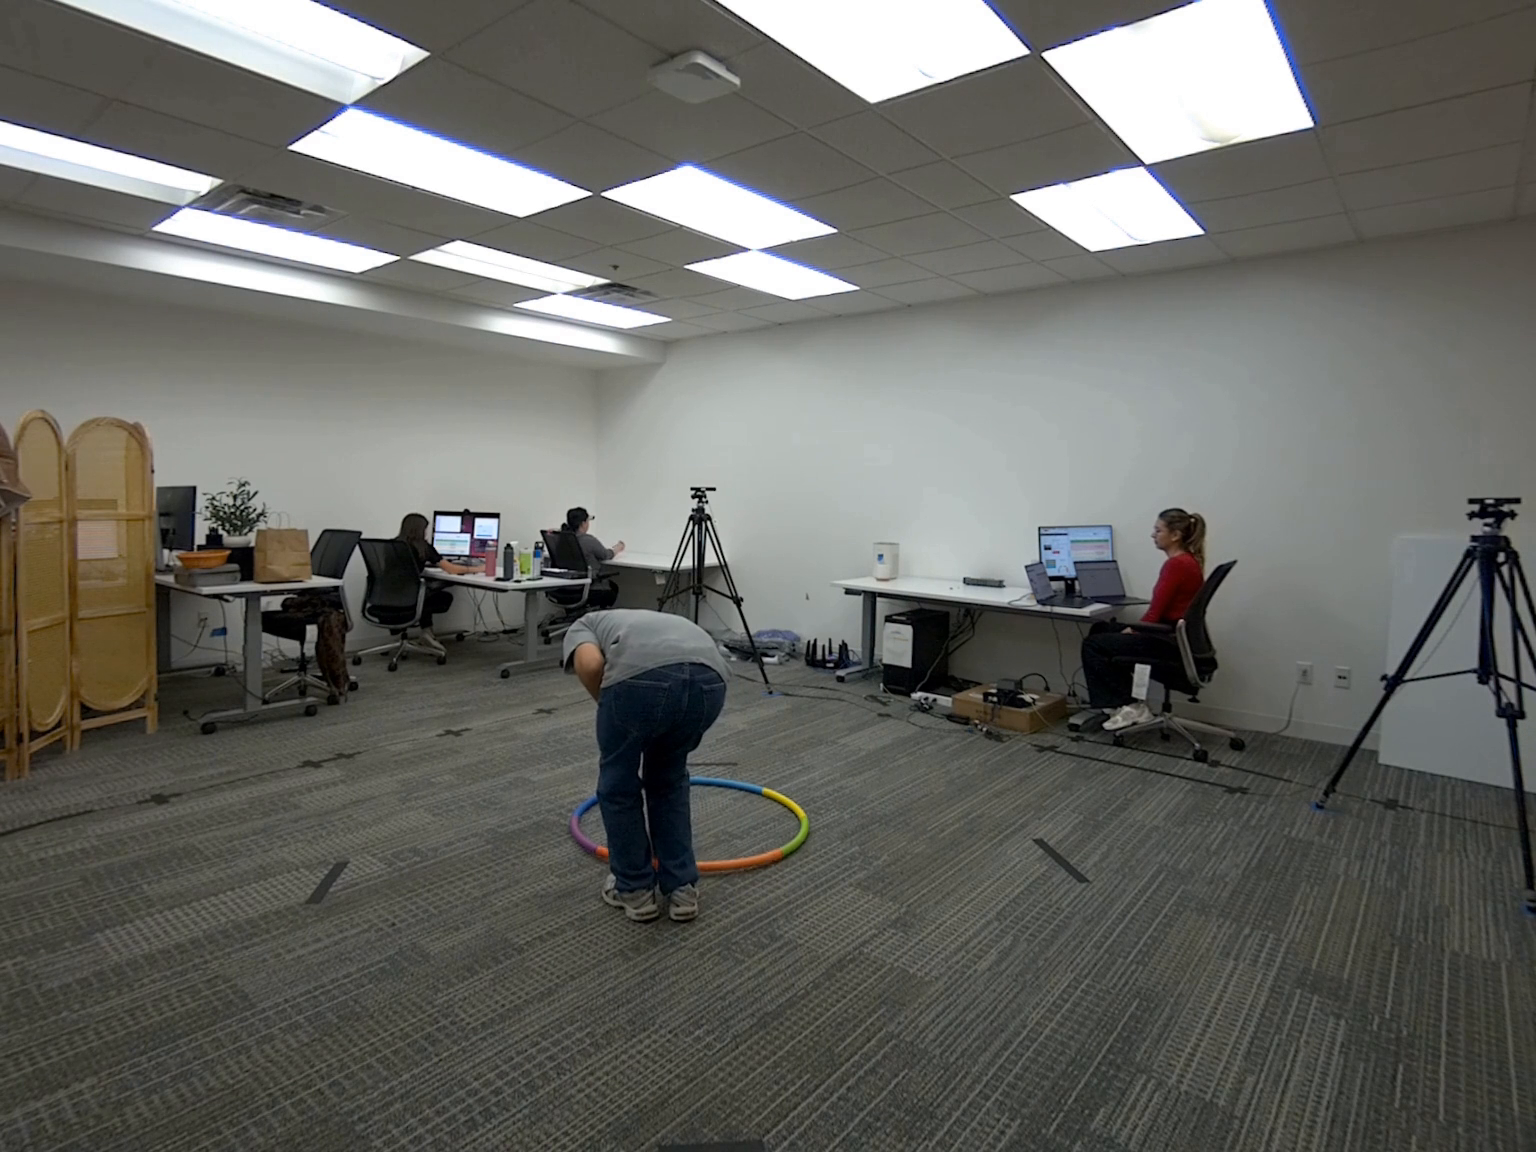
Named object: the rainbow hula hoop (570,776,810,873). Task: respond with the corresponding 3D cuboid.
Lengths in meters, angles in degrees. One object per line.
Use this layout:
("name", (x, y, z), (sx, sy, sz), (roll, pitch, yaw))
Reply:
("rainbow hula hoop", (-0.340, 0.981, 3.518), (0.978, 0.035, 0.983), (1, 5, -2))
